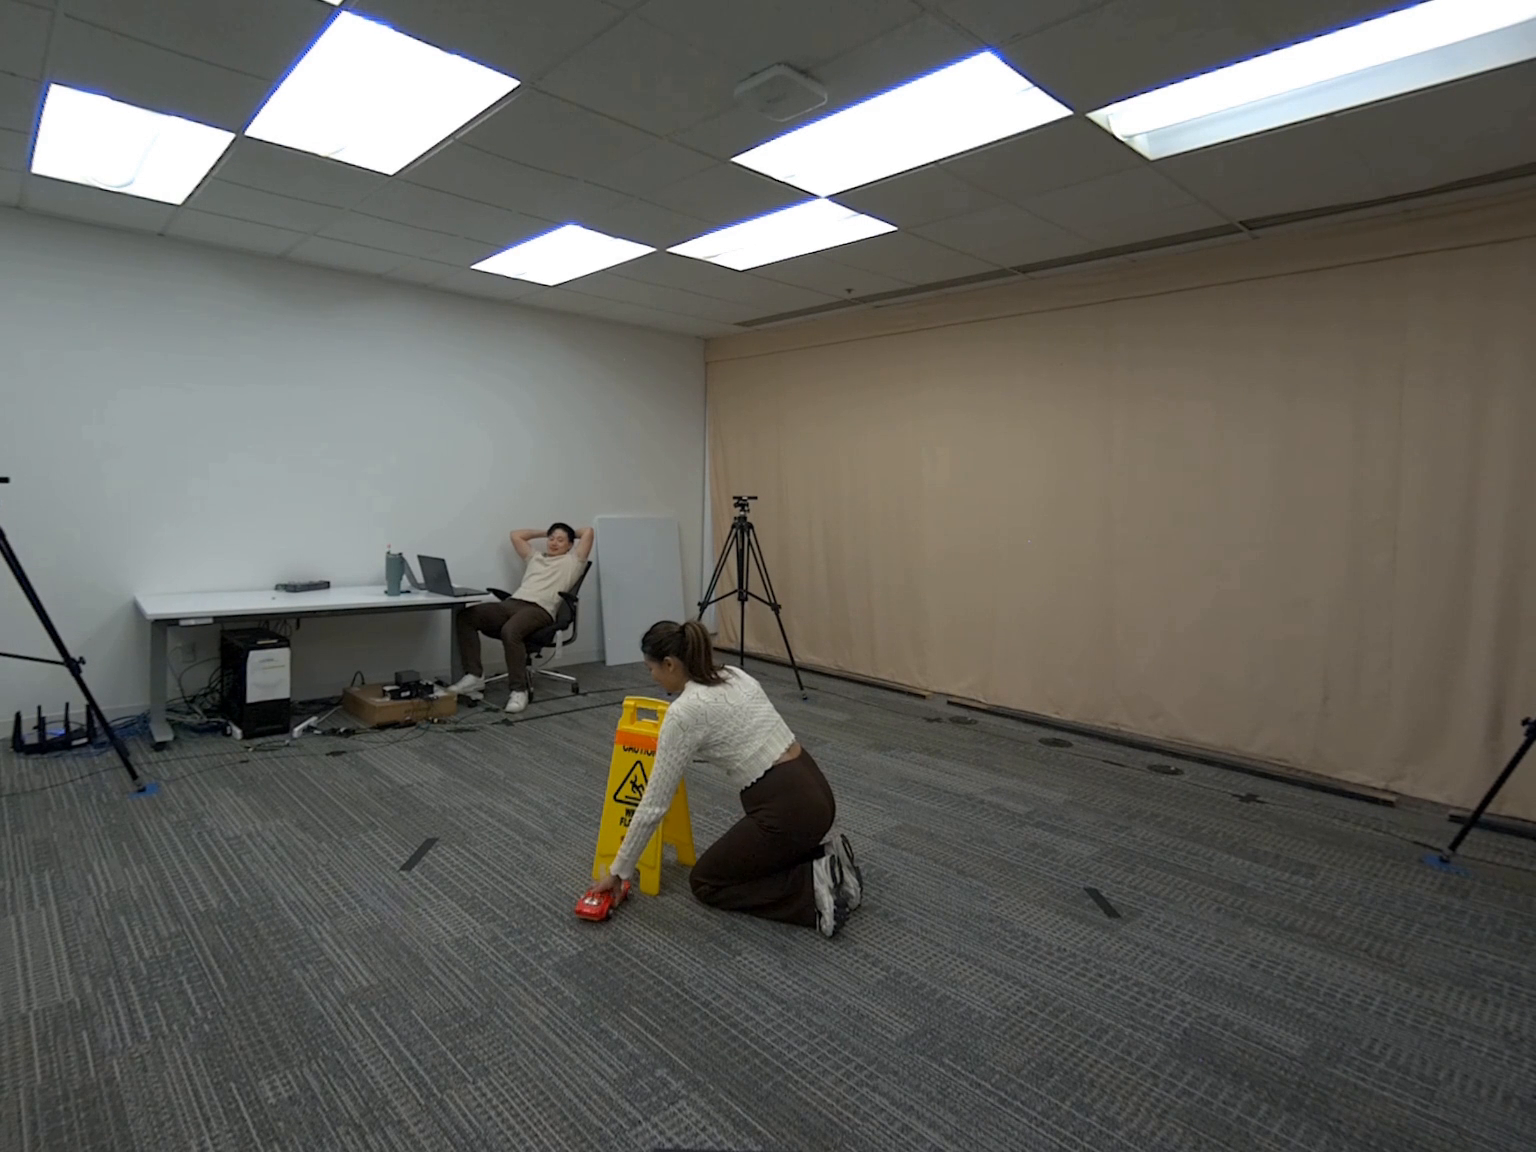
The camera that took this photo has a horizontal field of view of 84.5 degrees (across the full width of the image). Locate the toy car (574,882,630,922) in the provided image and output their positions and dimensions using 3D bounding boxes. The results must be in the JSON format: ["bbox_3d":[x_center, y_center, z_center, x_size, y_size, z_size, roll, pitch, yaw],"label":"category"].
[{"bbox_3d":[-0.559,1.076,2.823,0.132,0.083,0.250,3,-4,18],"label":"toy car"}]
